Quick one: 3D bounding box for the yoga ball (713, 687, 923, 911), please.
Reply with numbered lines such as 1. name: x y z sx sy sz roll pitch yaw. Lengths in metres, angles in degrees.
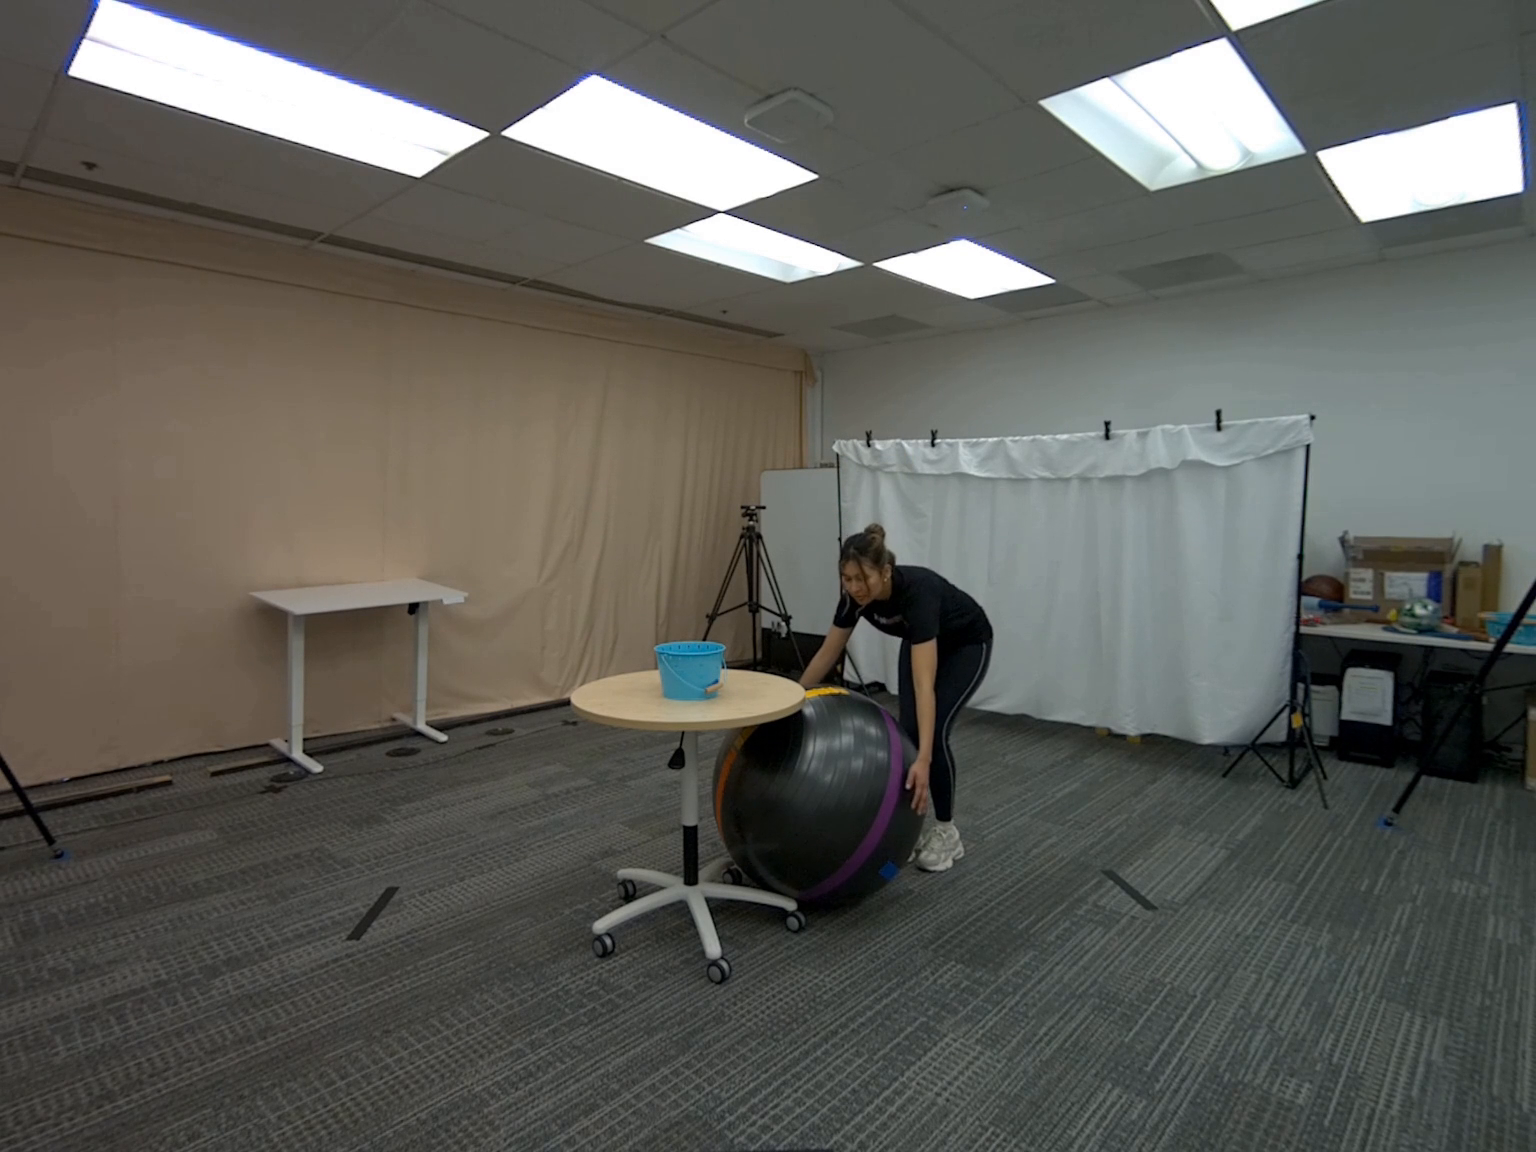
1. yoga ball: 0.186 0.768 2.998 0.757 0.756 0.761 0 4 -2
